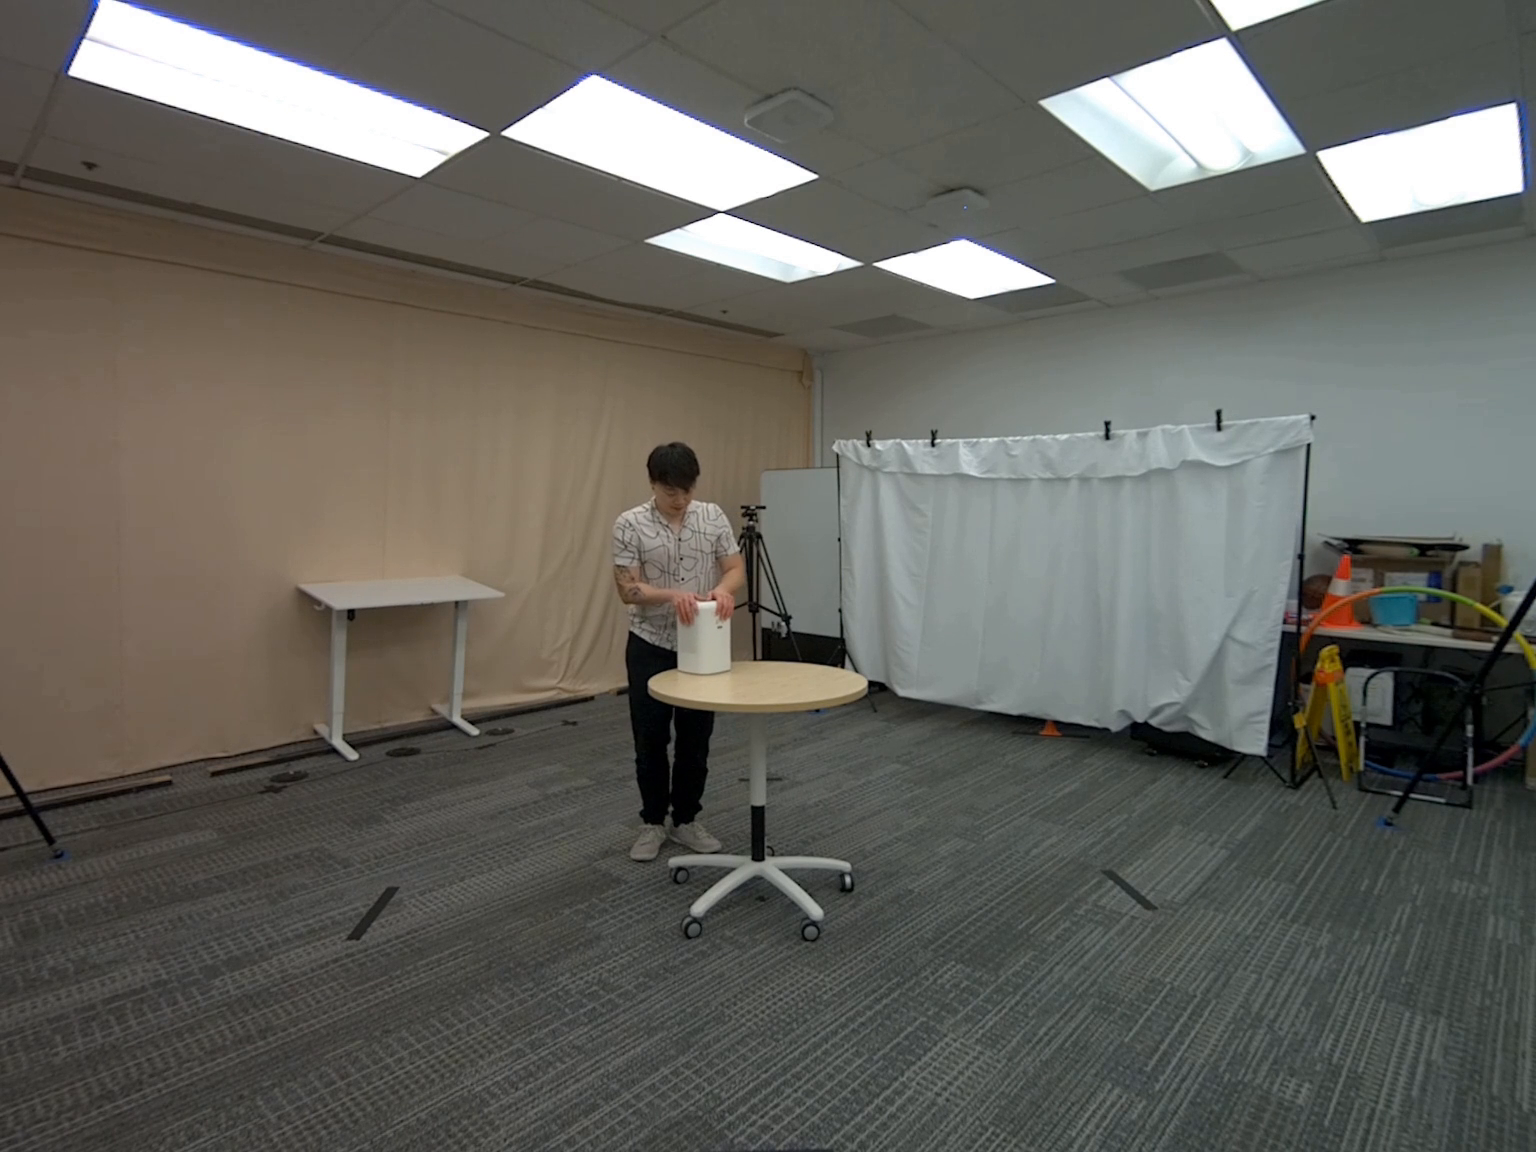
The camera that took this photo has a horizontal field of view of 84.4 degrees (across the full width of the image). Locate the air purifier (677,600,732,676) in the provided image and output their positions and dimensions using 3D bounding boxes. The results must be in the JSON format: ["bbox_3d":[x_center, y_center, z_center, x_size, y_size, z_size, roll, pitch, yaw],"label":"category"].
[{"bbox_3d":[-0.236,0.224,3.146,0.177,0.265,0.166,0,1,43],"label":"air purifier"}]
